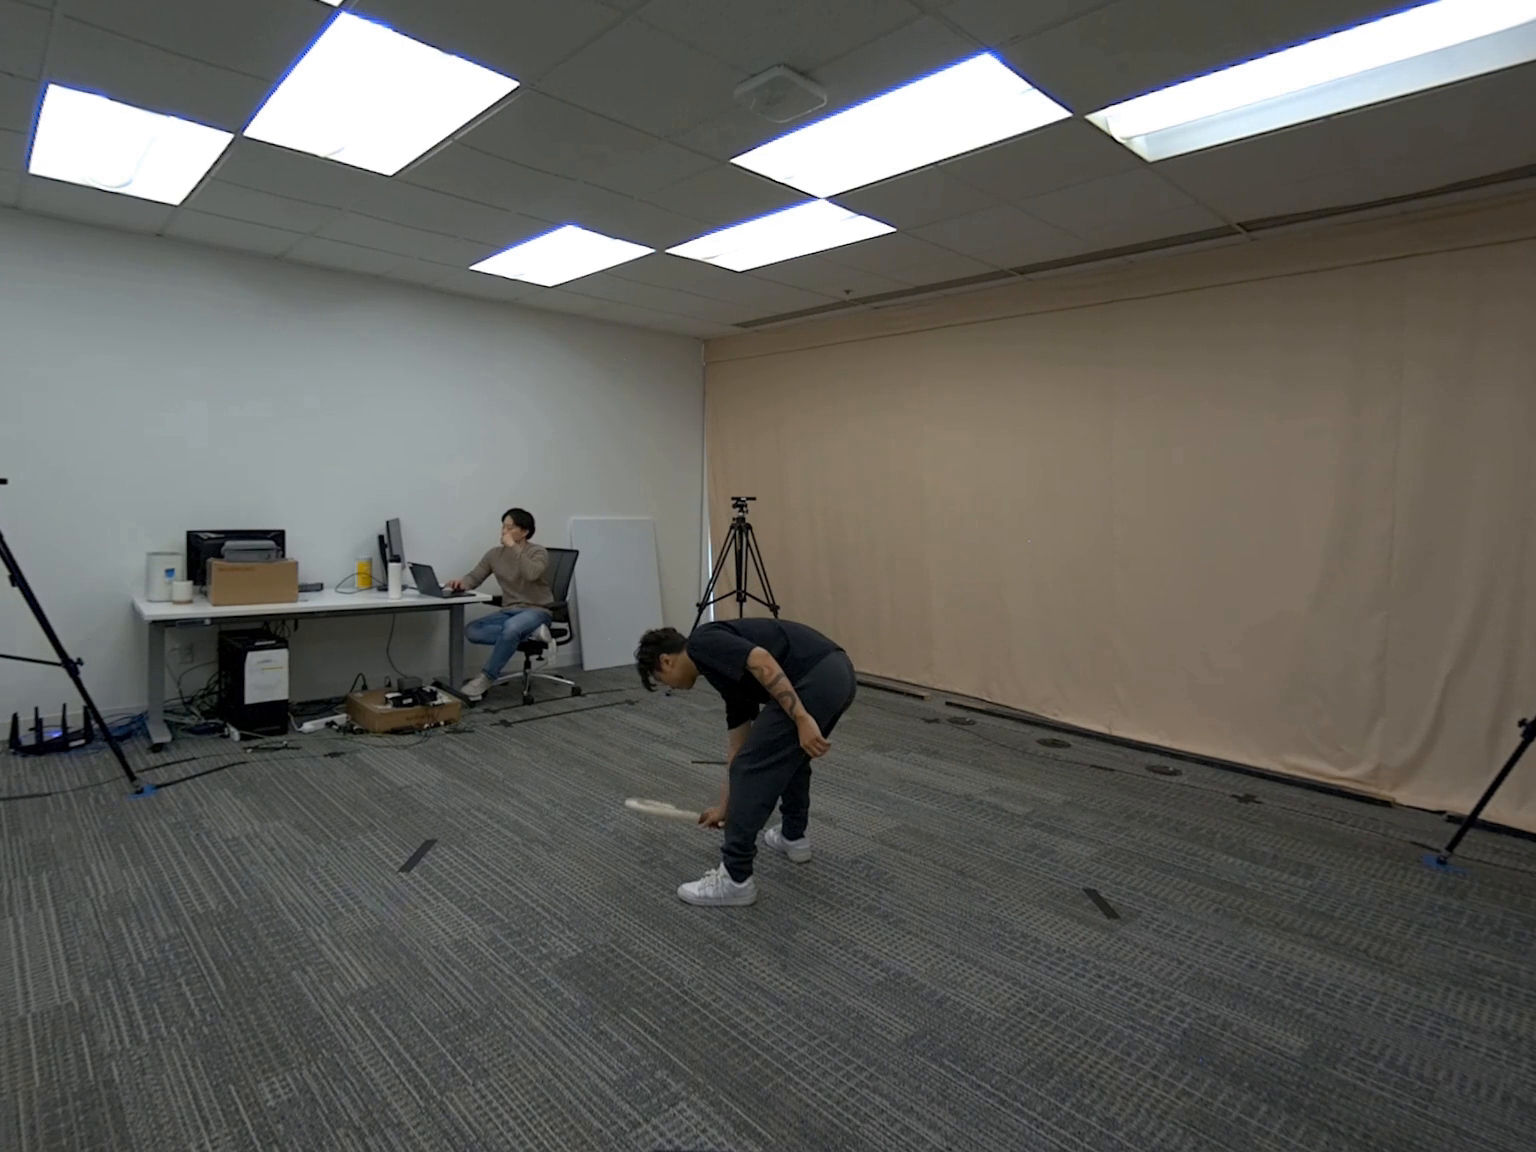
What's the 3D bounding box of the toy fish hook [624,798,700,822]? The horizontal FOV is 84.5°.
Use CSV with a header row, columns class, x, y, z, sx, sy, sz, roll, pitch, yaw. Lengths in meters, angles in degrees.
class,x,y,z,sx,sy,sz,roll,pitch,yaw
toy fish hook,-0.324,0.933,3.379,0.508,0.048,0.223,12,-4,3
